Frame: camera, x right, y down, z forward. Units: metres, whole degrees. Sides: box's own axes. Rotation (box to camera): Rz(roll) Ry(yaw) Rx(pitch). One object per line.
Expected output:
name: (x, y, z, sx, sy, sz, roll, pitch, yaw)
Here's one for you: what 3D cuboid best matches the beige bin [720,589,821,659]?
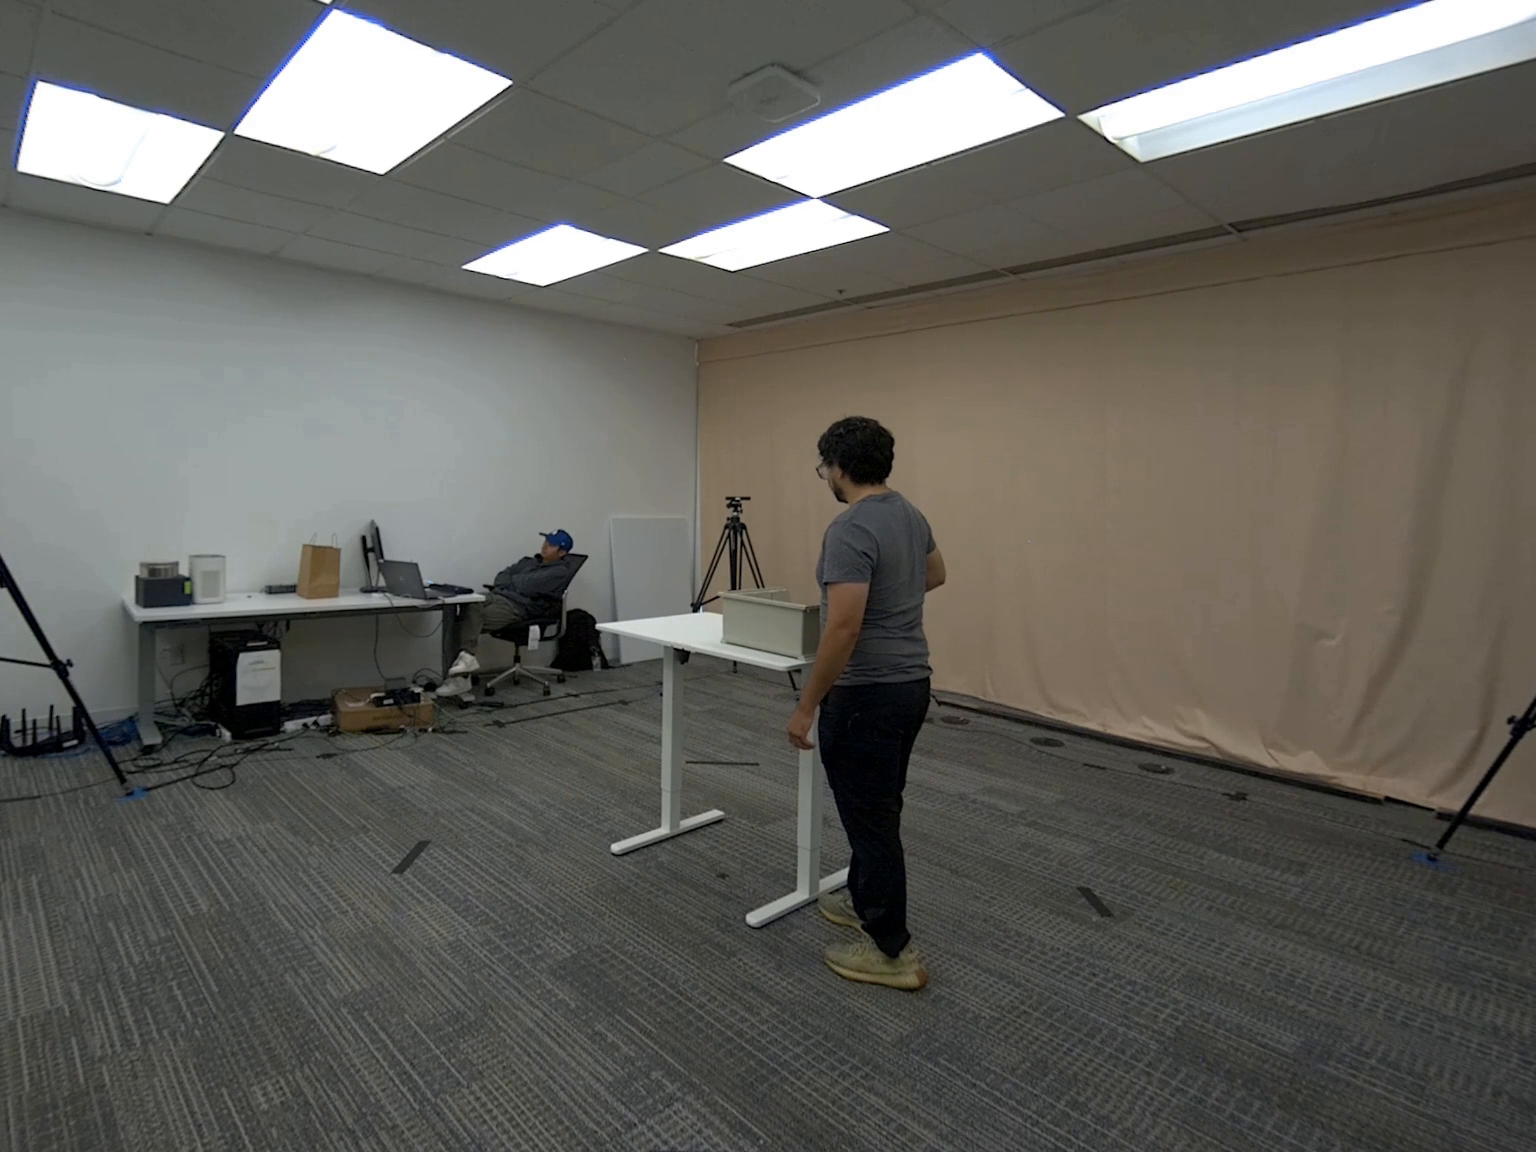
beige bin: (0.094, 0.159, 2.929, 0.369, 0.188, 0.433, -5, 9, -43)
